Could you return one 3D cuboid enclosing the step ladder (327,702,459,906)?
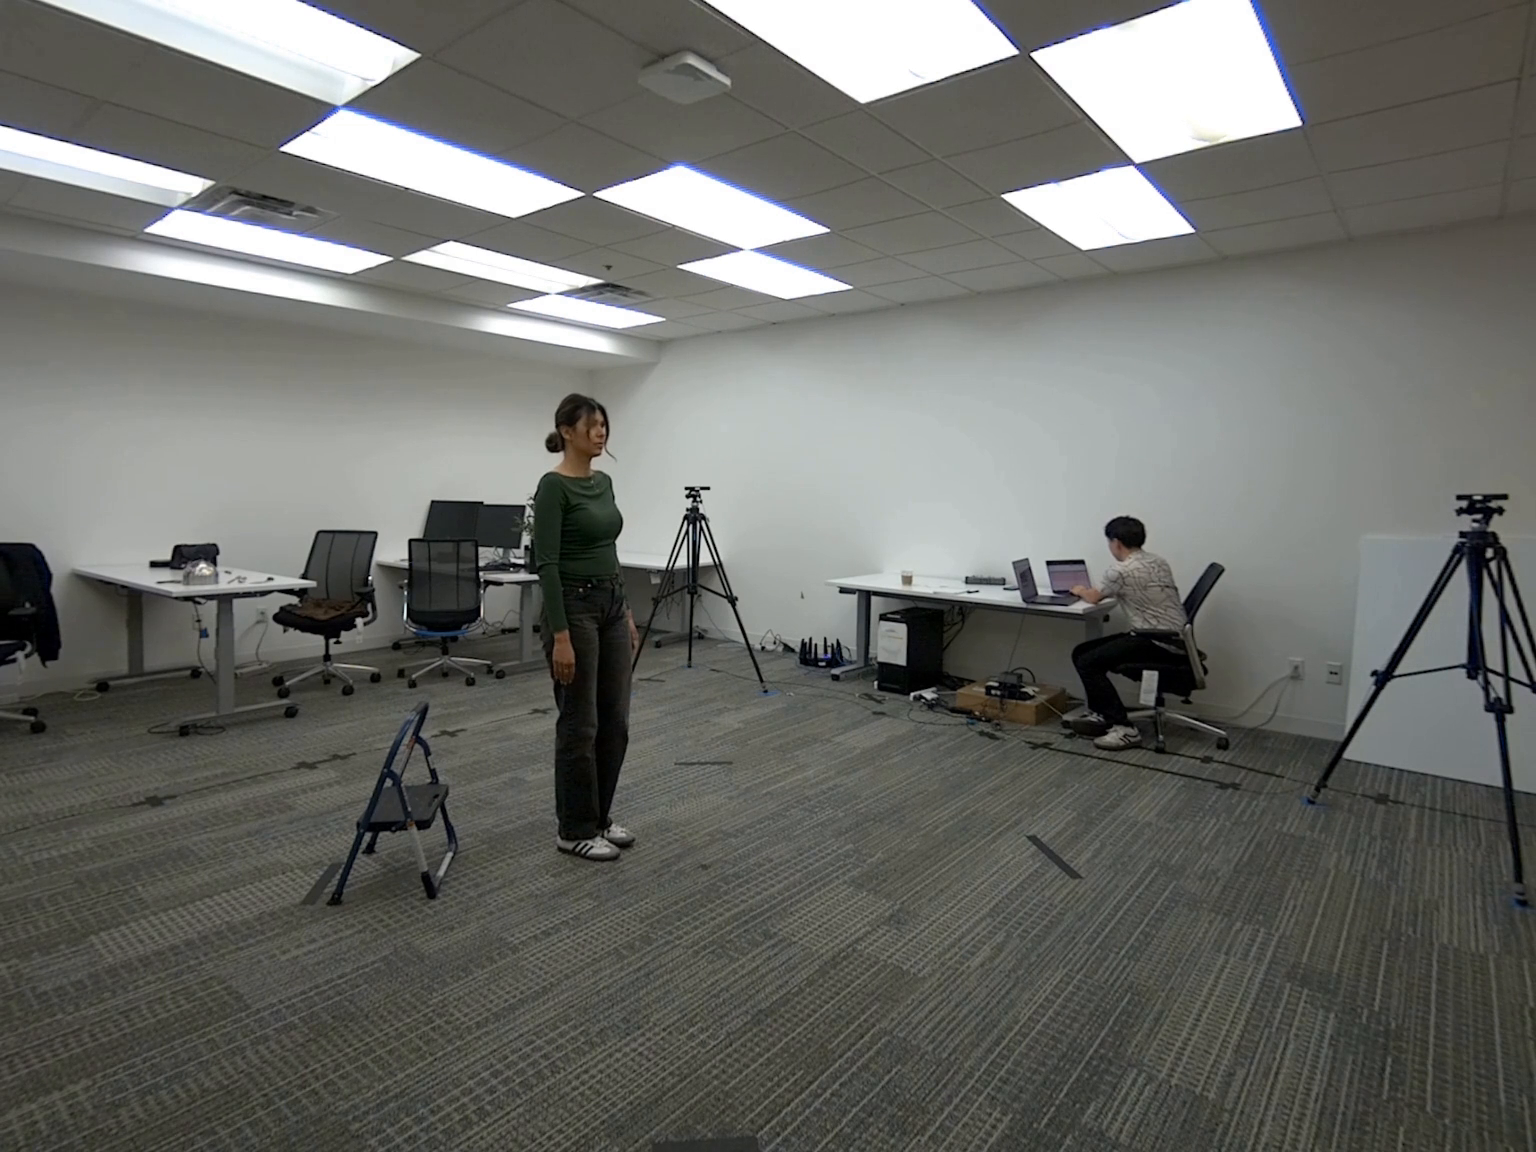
[{"bbox_3d":[-1.322,0.760,3.011,0.346,0.604,0.436,0,4,-10],"label":"step ladder"}]
